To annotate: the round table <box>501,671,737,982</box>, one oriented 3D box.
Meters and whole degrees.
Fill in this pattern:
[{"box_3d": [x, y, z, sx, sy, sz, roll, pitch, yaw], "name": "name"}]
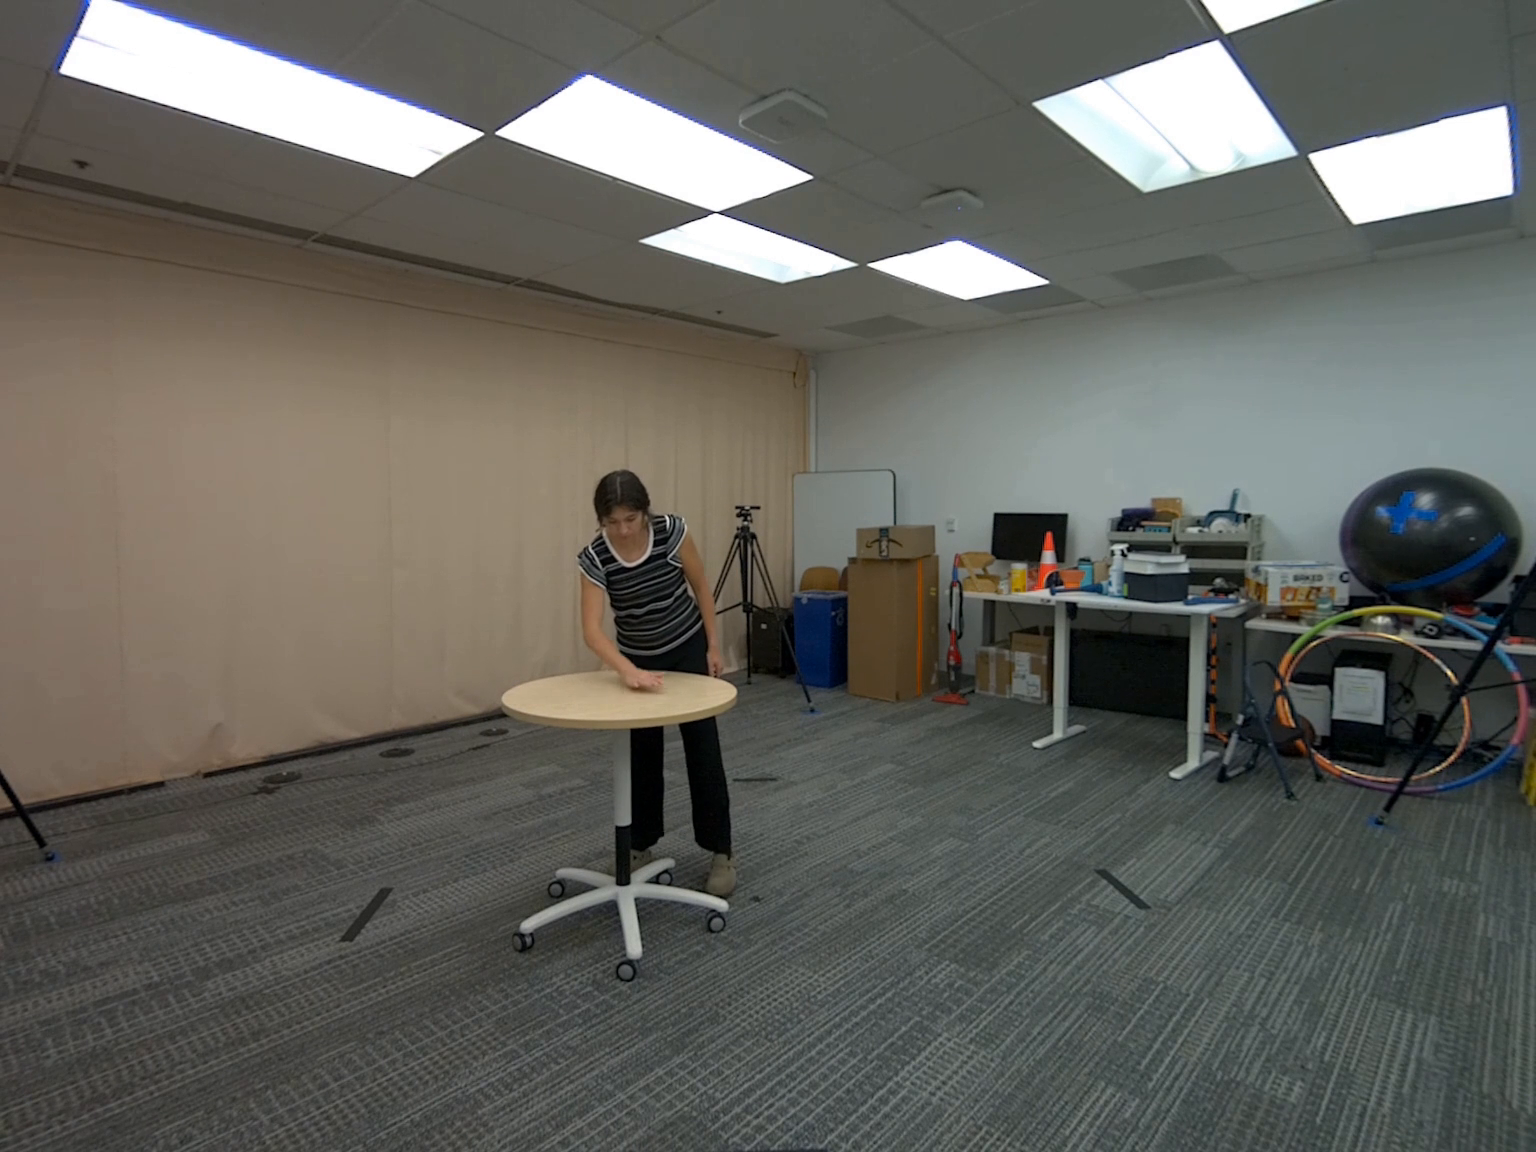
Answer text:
[{"box_3d": [-0.484, 0.776, 2.784, 0.763, 0.792, 0.766, -1, 3, -2], "name": "round table"}]
